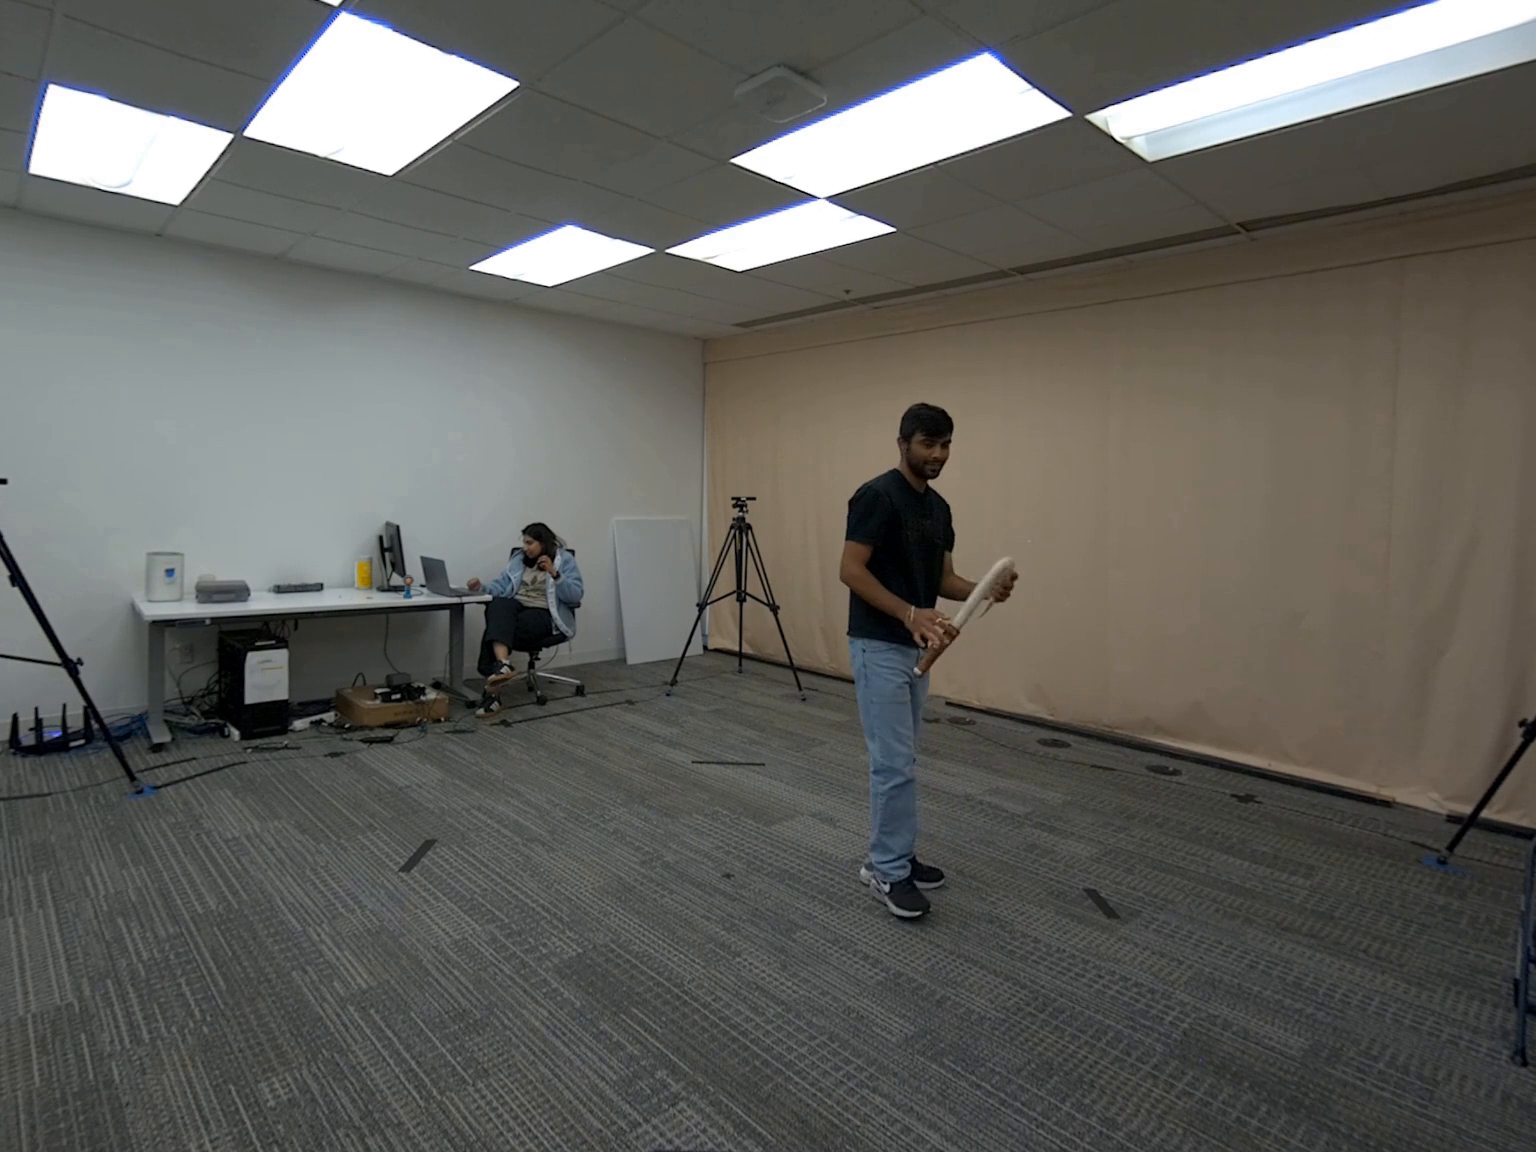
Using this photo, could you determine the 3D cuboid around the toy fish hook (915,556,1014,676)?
[{"bbox_3d":[0.621,0.145,2.716,0.050,0.507,0.218,34,-12,36],"label":"toy fish hook"}]
